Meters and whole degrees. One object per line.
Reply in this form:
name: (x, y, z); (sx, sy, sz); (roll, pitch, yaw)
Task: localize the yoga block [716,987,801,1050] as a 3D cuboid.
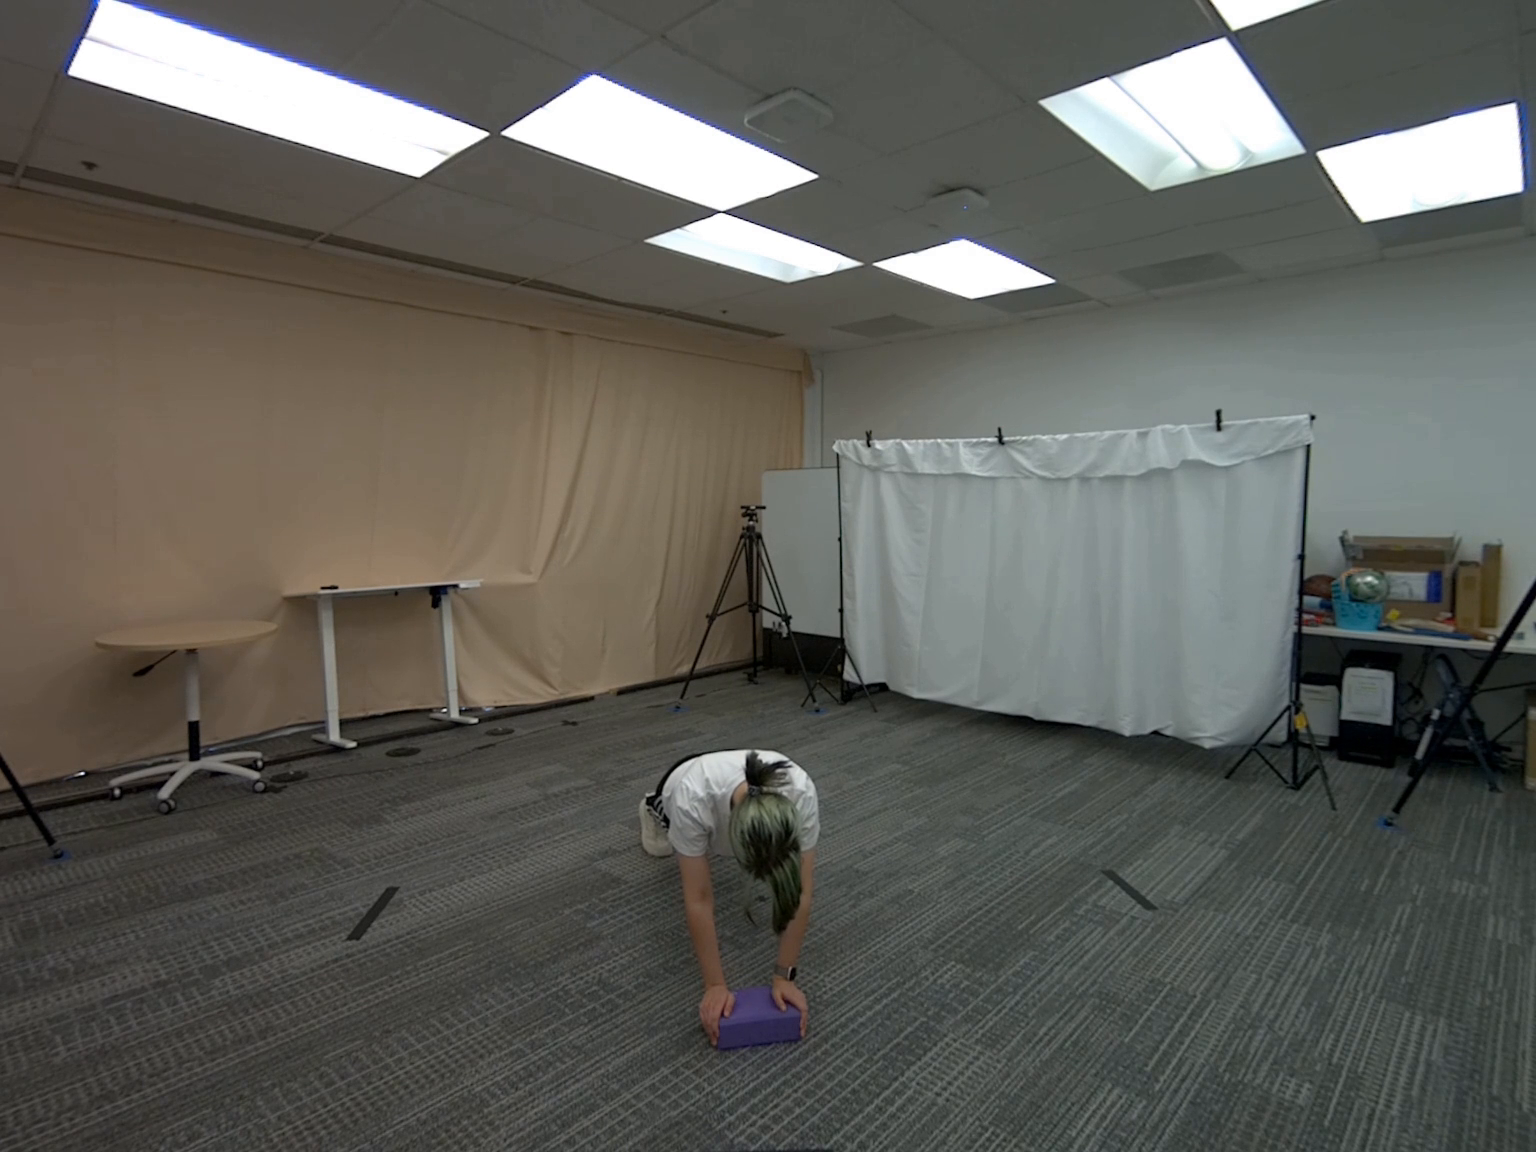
yoga block: (-0.041, 1.167, 2.243); (0.227, 0.076, 0.151); (0, 4, -11)
